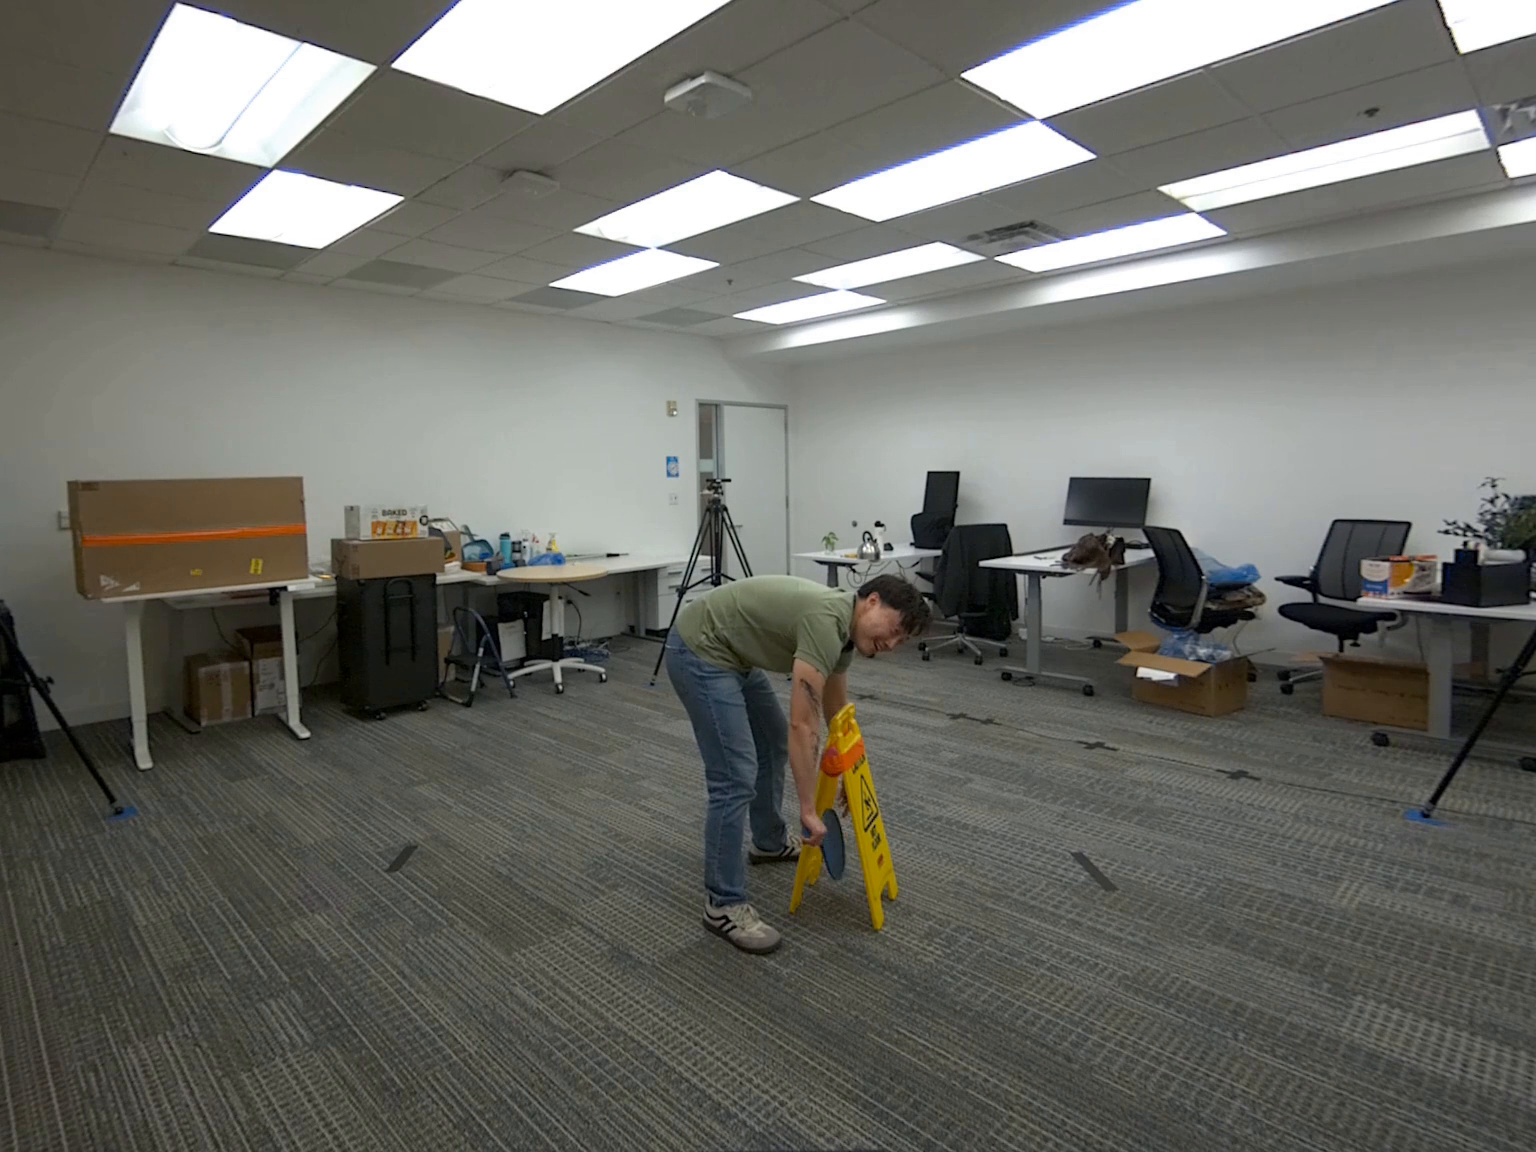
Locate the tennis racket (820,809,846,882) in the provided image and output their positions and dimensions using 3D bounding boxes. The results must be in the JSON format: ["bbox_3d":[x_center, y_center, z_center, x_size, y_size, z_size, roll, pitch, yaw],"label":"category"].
[{"bbox_3d":[0.171,0.815,2.627,0.032,0.218,0.418,-9,-24,14],"label":"tennis racket"}]
